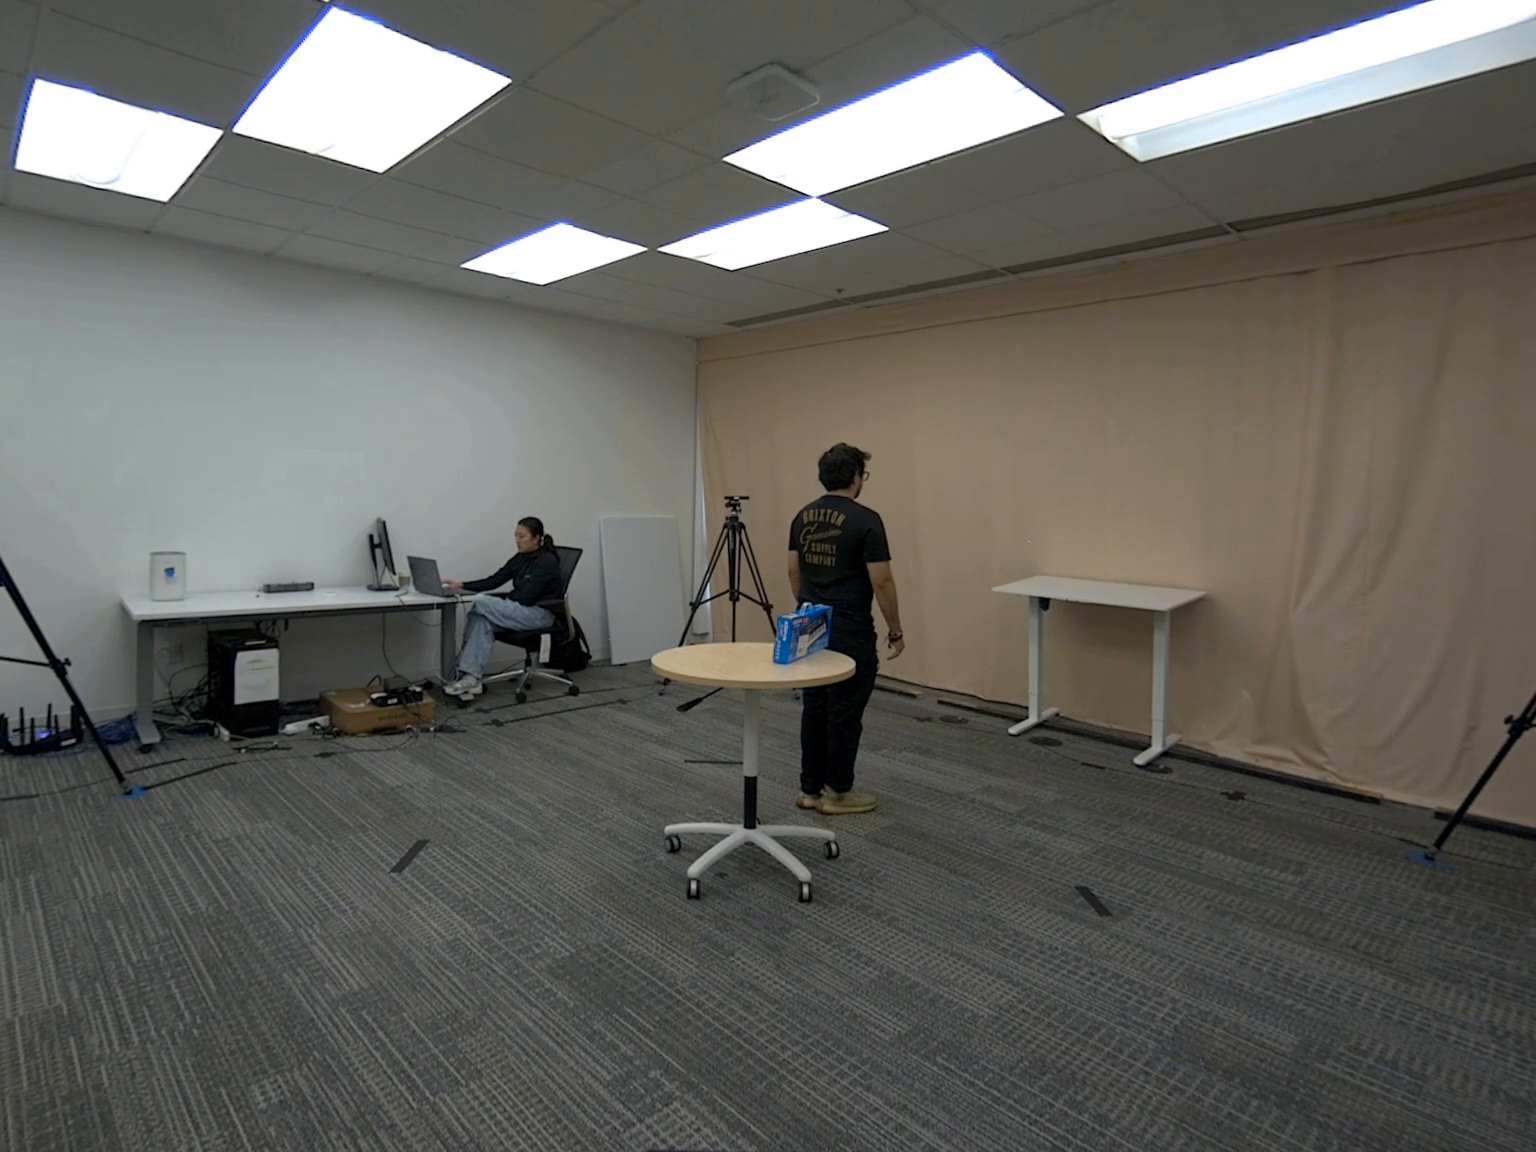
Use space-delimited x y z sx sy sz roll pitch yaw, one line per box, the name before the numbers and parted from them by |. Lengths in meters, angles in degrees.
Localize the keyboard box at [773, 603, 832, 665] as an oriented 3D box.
keyboard box | 0.135 0.225 3.278 0.060 0.175 0.430 10 8 24
